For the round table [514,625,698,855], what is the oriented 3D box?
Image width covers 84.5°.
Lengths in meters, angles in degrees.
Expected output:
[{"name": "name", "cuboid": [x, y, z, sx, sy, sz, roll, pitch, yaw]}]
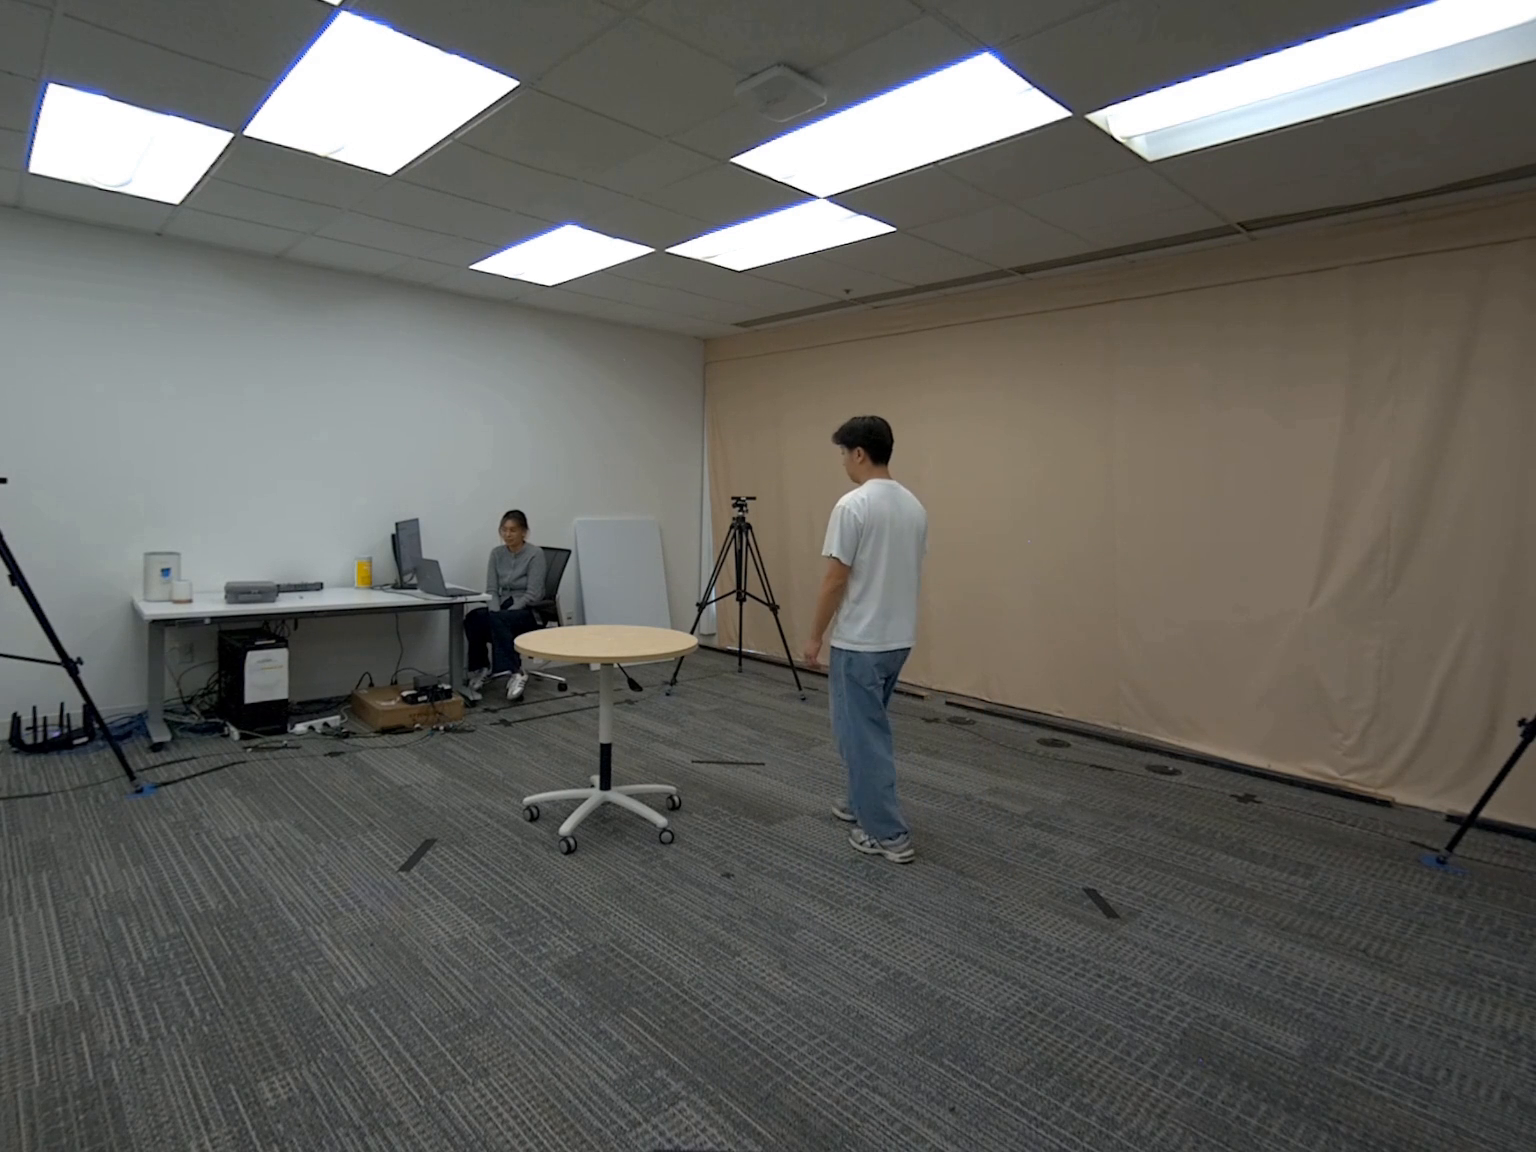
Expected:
[{"name": "round table", "cuboid": [-0.691, 0.661, 3.565, 0.763, 0.792, 0.766, 1, 4, -1]}]
